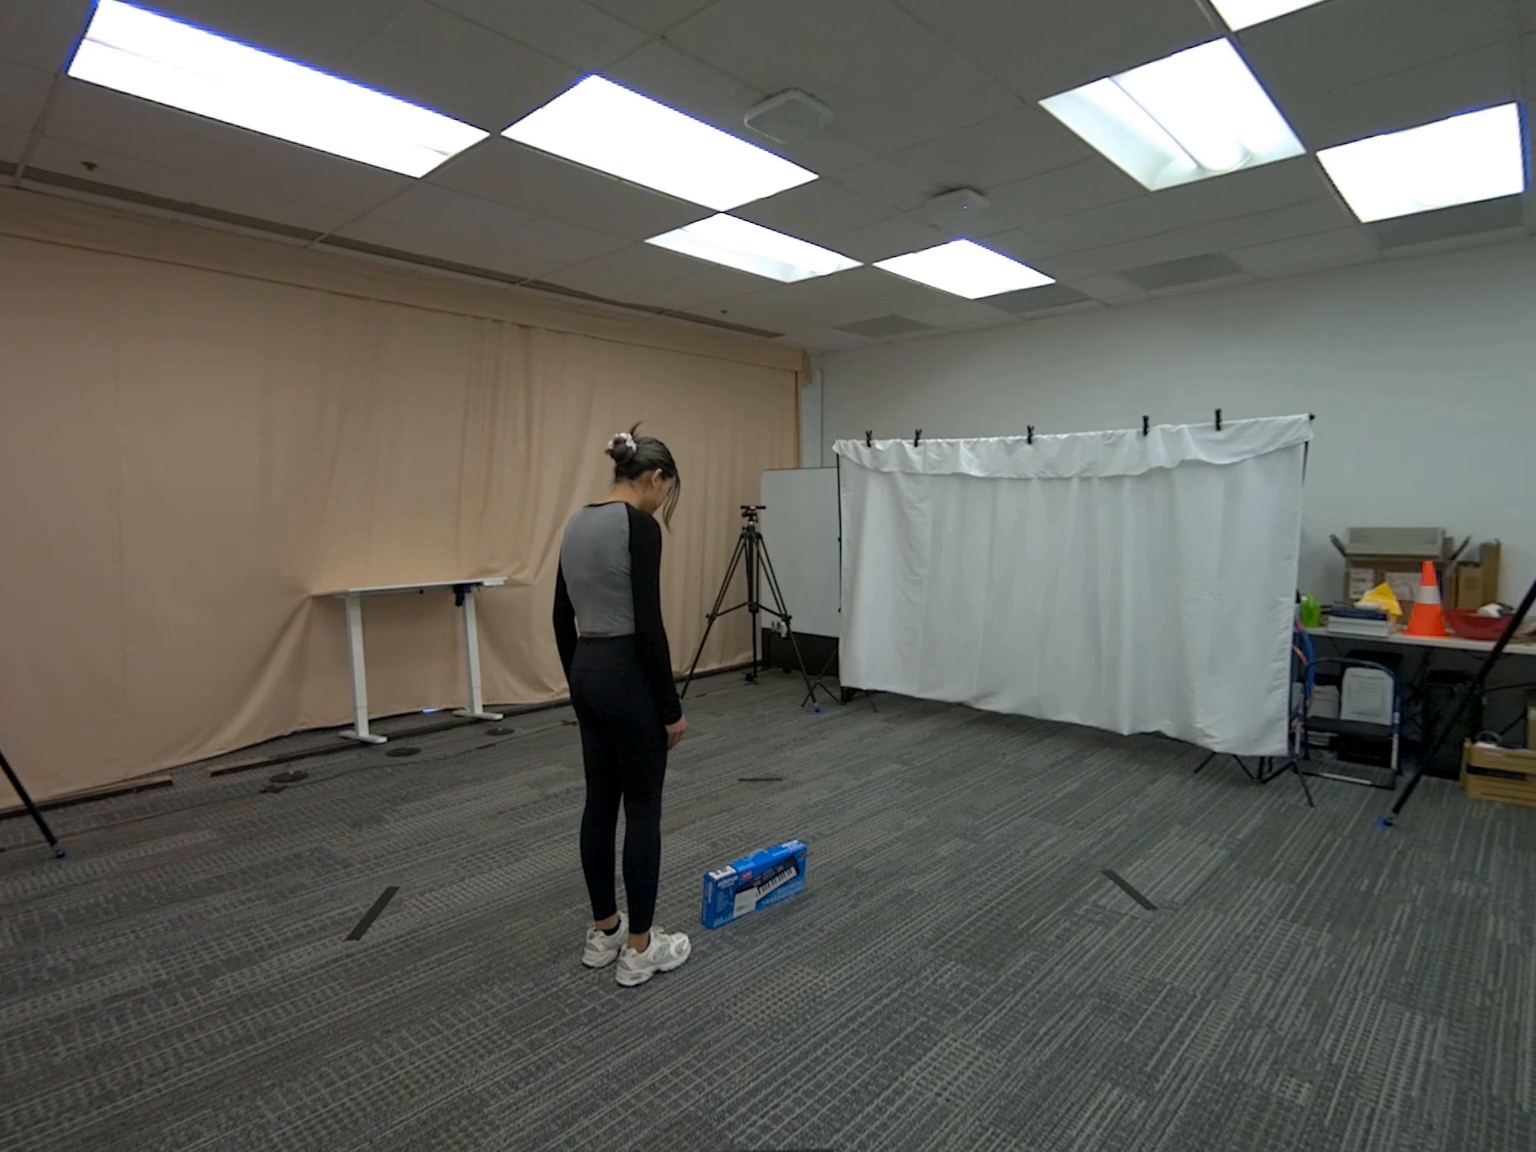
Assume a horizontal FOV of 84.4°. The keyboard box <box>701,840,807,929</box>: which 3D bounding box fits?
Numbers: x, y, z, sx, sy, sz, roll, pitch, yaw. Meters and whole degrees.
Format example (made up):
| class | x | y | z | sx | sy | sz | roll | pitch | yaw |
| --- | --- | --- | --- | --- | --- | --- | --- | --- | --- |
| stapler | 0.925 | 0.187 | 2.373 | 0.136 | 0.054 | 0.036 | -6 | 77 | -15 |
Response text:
| class | x | y | z | sx | sy | sz | roll | pitch | yaw |
| --- | --- | --- | --- | --- | --- | --- | --- | --- | --- |
| keyboard box | -0.039 | 1.064 | 2.914 | 0.423 | 0.175 | 0.061 | -4 | 11 | -42 |
